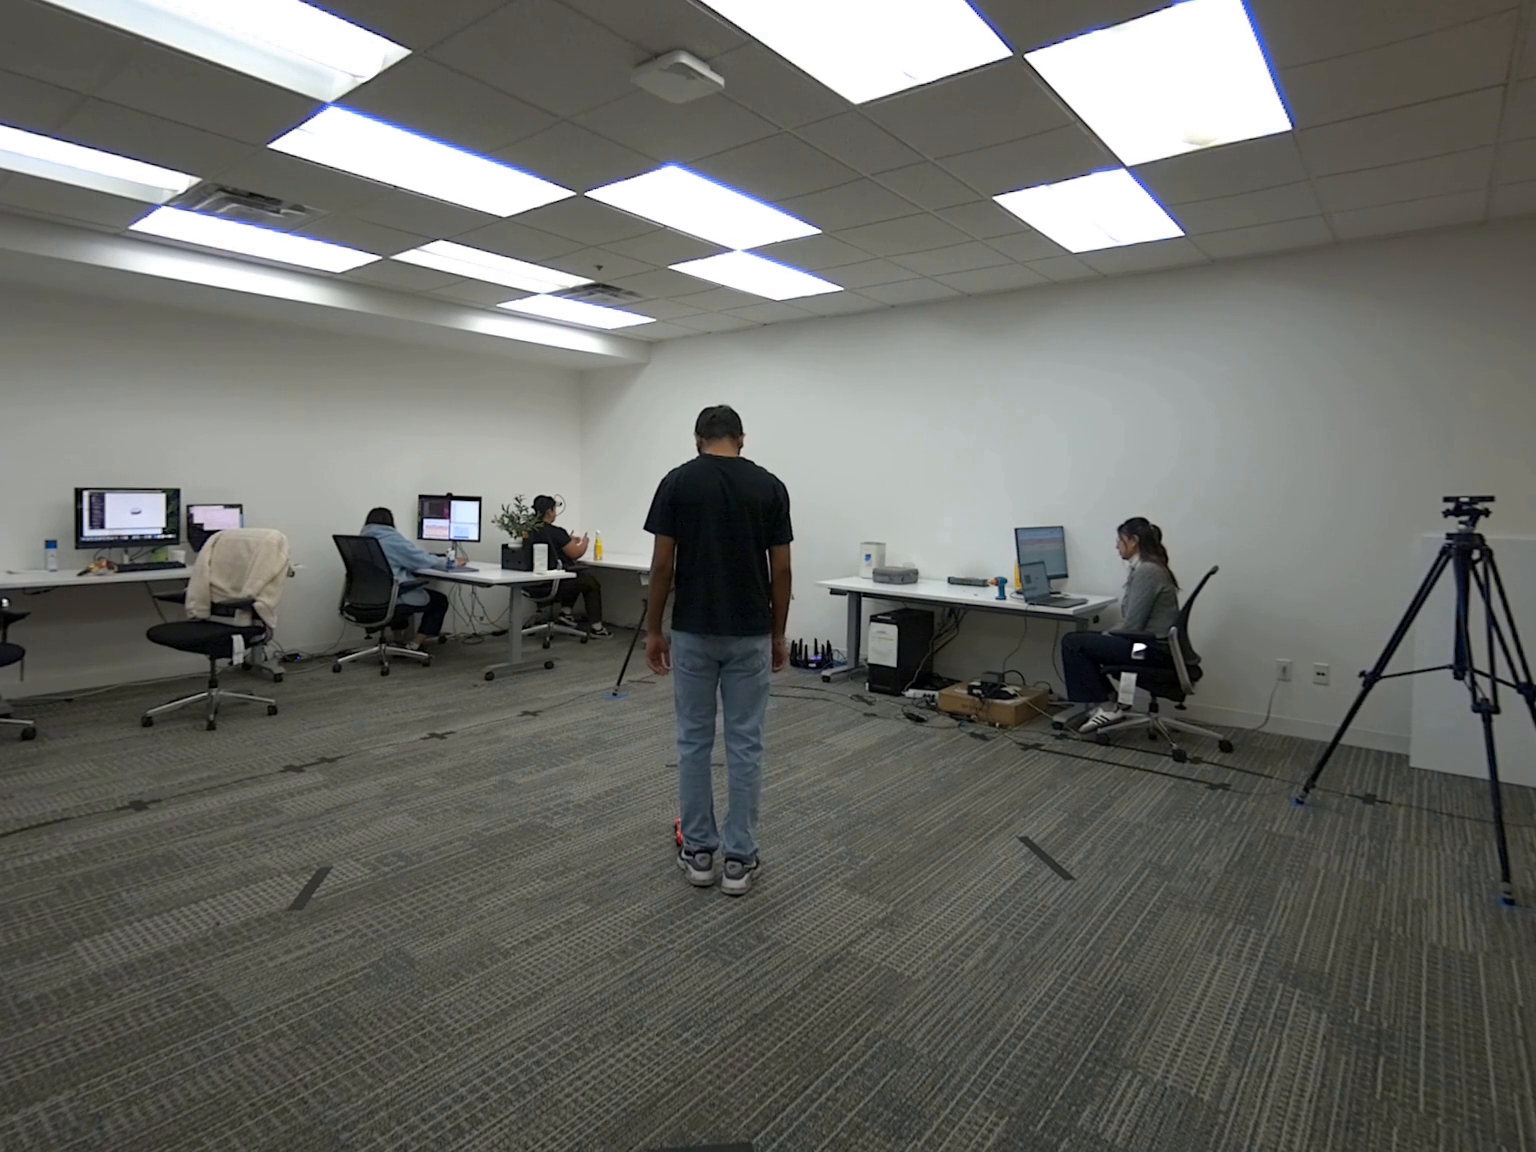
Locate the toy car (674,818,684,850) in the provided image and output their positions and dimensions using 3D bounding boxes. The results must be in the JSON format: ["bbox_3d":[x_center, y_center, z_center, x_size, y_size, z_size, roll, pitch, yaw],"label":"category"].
[{"bbox_3d":[-0.315,1.002,3.363,0.130,0.084,0.254,2,-6,-6],"label":"toy car"}]
